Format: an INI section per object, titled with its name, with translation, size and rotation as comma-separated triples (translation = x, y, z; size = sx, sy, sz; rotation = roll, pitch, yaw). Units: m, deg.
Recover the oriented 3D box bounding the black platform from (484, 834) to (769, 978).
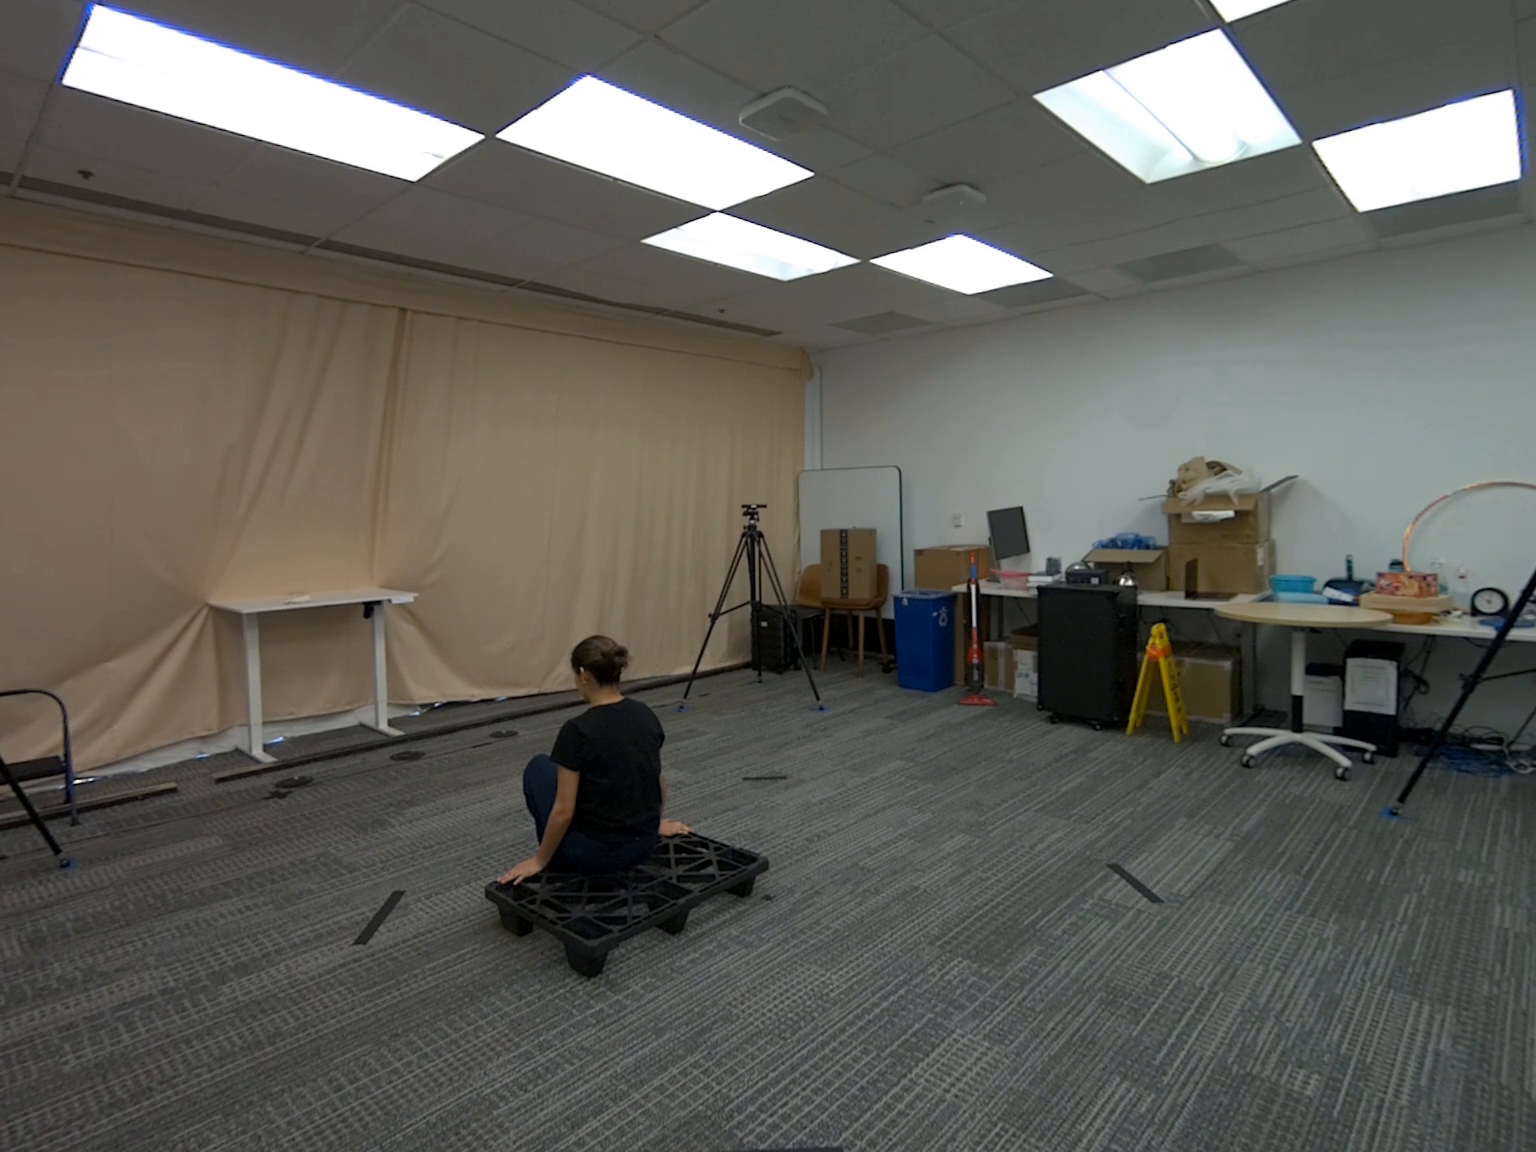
[black platform]
translation = -0.447, 1.089, 2.907
size = 0.625, 0.143, 0.781
rotation = 4, 7, 42
